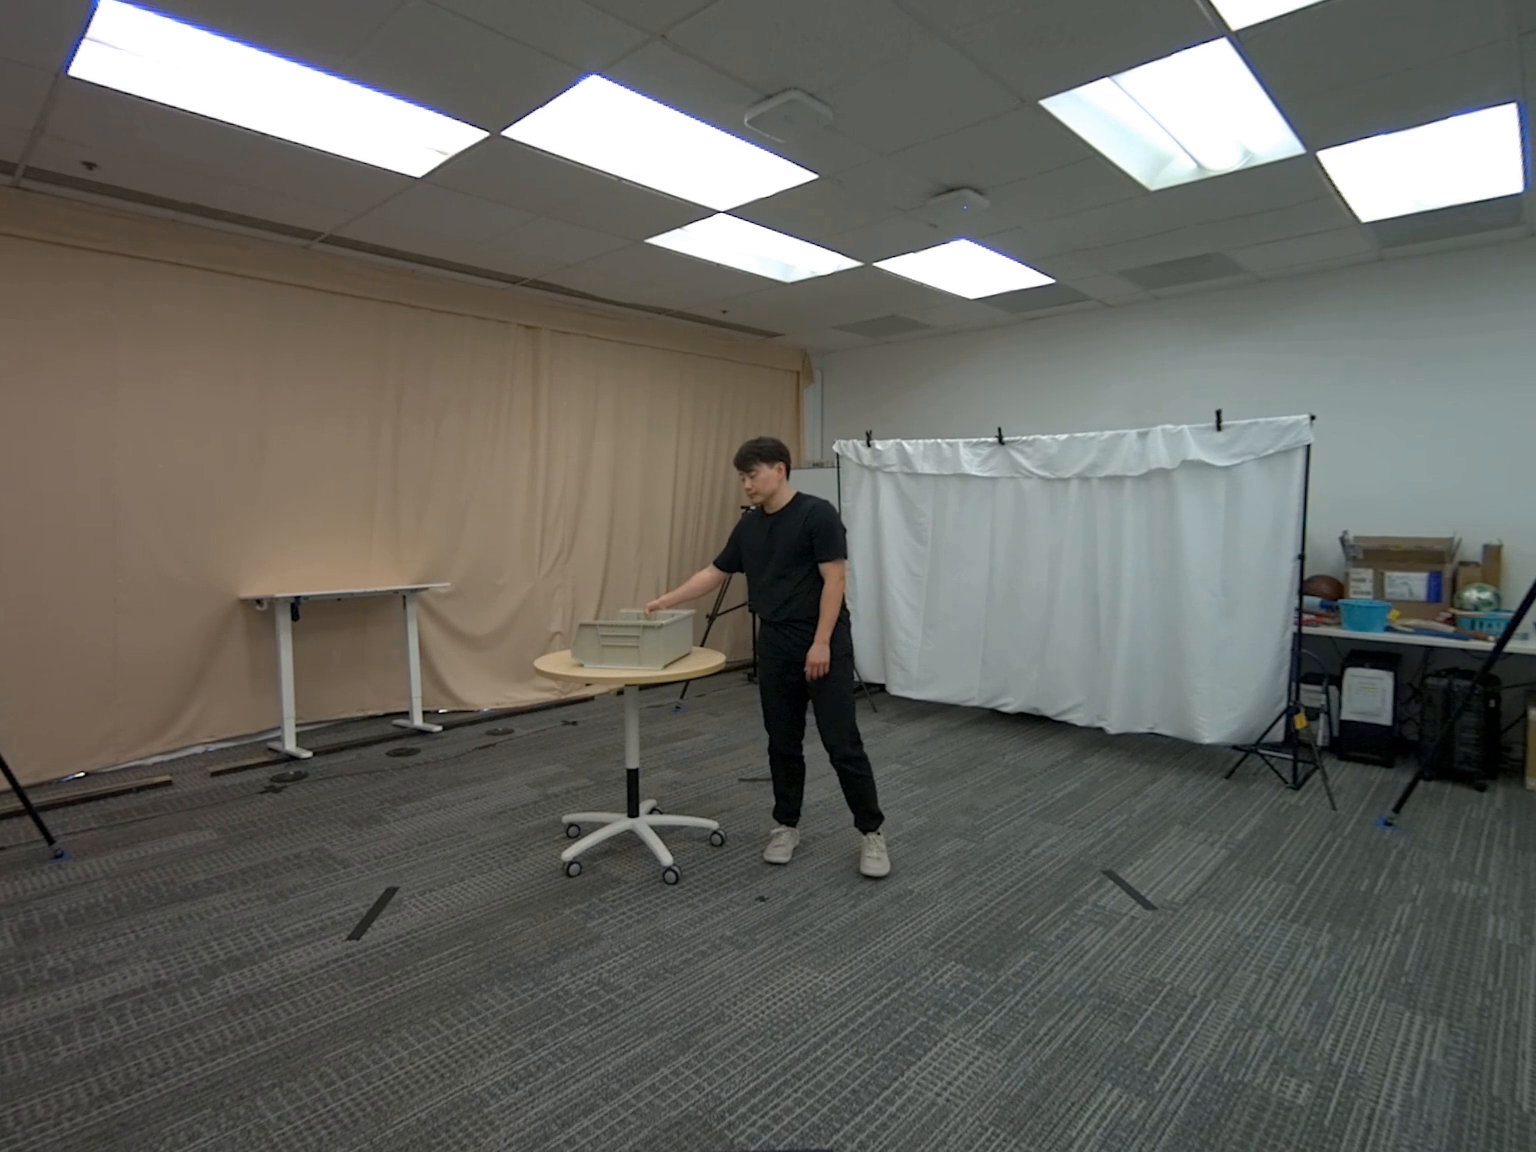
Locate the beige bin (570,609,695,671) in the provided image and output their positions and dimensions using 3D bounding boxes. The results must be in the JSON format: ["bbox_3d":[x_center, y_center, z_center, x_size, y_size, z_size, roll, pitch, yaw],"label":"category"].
[{"bbox_3d":[-0.522,0.250,3.355,0.383,0.188,0.417,1,4,13],"label":"beige bin"}]
